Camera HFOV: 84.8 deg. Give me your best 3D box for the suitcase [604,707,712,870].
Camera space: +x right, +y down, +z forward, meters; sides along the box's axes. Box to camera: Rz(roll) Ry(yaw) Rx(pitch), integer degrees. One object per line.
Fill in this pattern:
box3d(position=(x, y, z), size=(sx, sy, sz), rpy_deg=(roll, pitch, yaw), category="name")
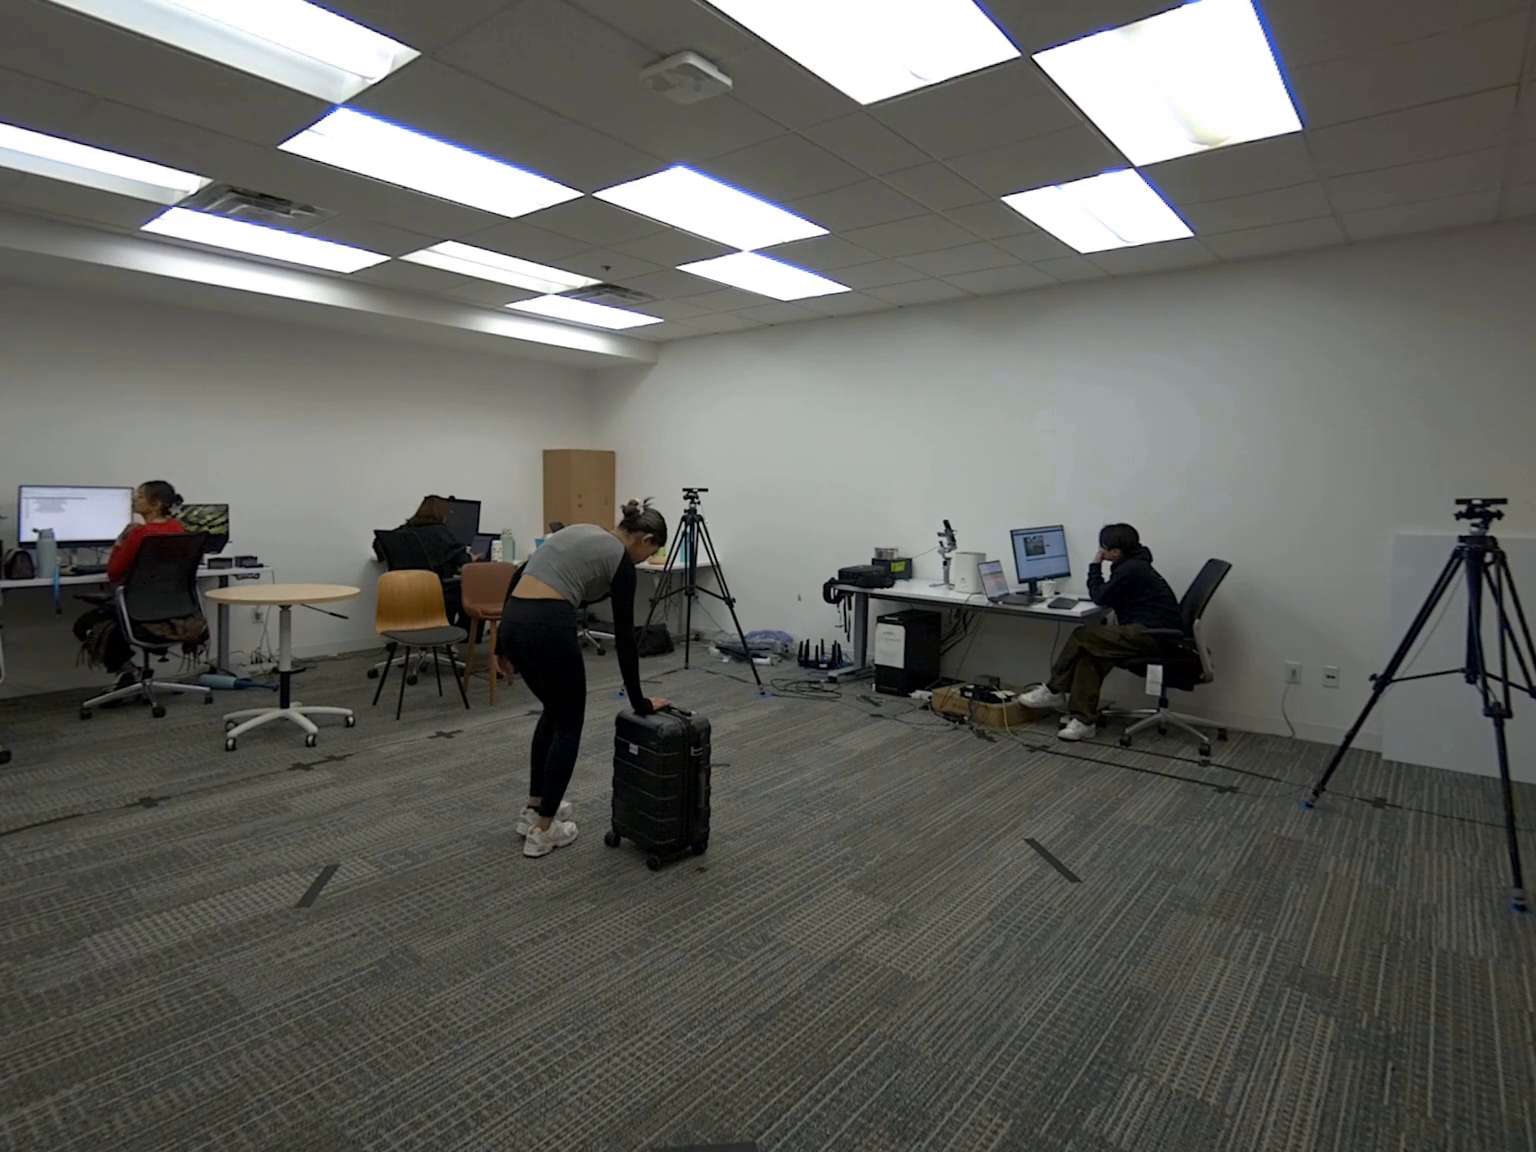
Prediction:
box3d(position=(-0.420, 0.778, 3.262), size=(0.240, 0.548, 0.388), rpy_deg=(0, 3, -43), category="suitcase")
